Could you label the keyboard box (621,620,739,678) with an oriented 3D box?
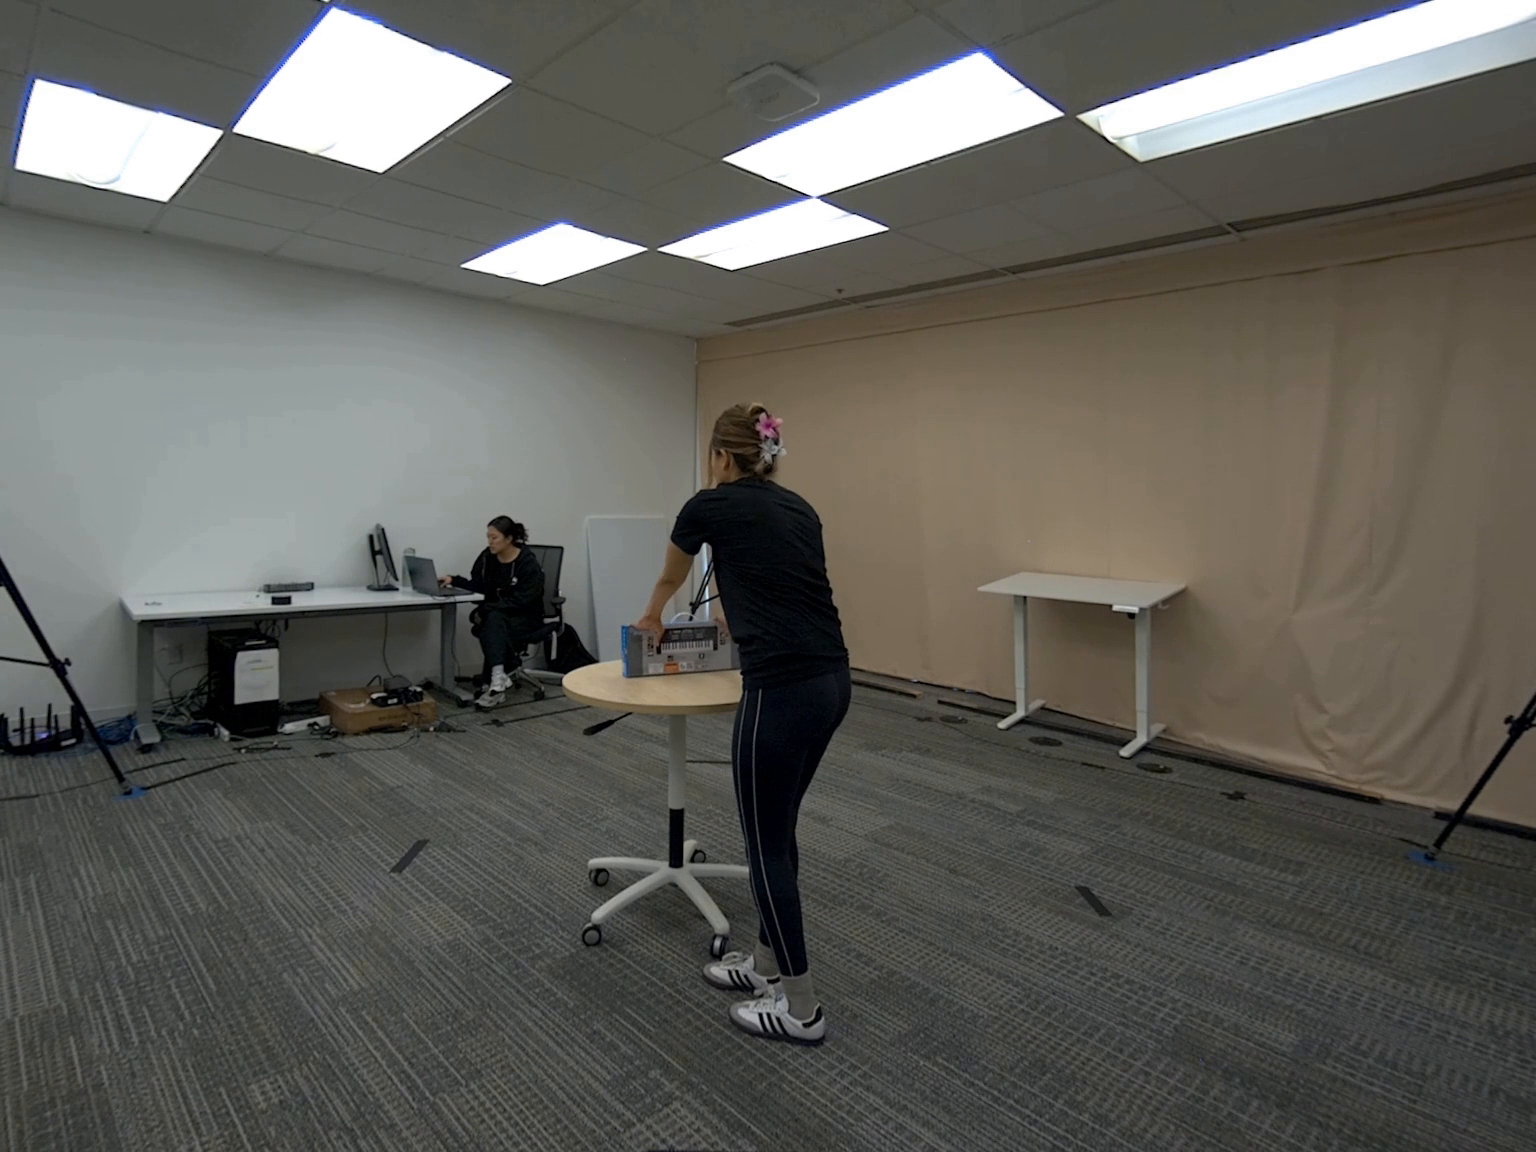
[{"bbox_3d":[-0.298,0.250,2.903,0.429,0.176,0.060,-2,1,-24],"label":"keyboard box"}]
